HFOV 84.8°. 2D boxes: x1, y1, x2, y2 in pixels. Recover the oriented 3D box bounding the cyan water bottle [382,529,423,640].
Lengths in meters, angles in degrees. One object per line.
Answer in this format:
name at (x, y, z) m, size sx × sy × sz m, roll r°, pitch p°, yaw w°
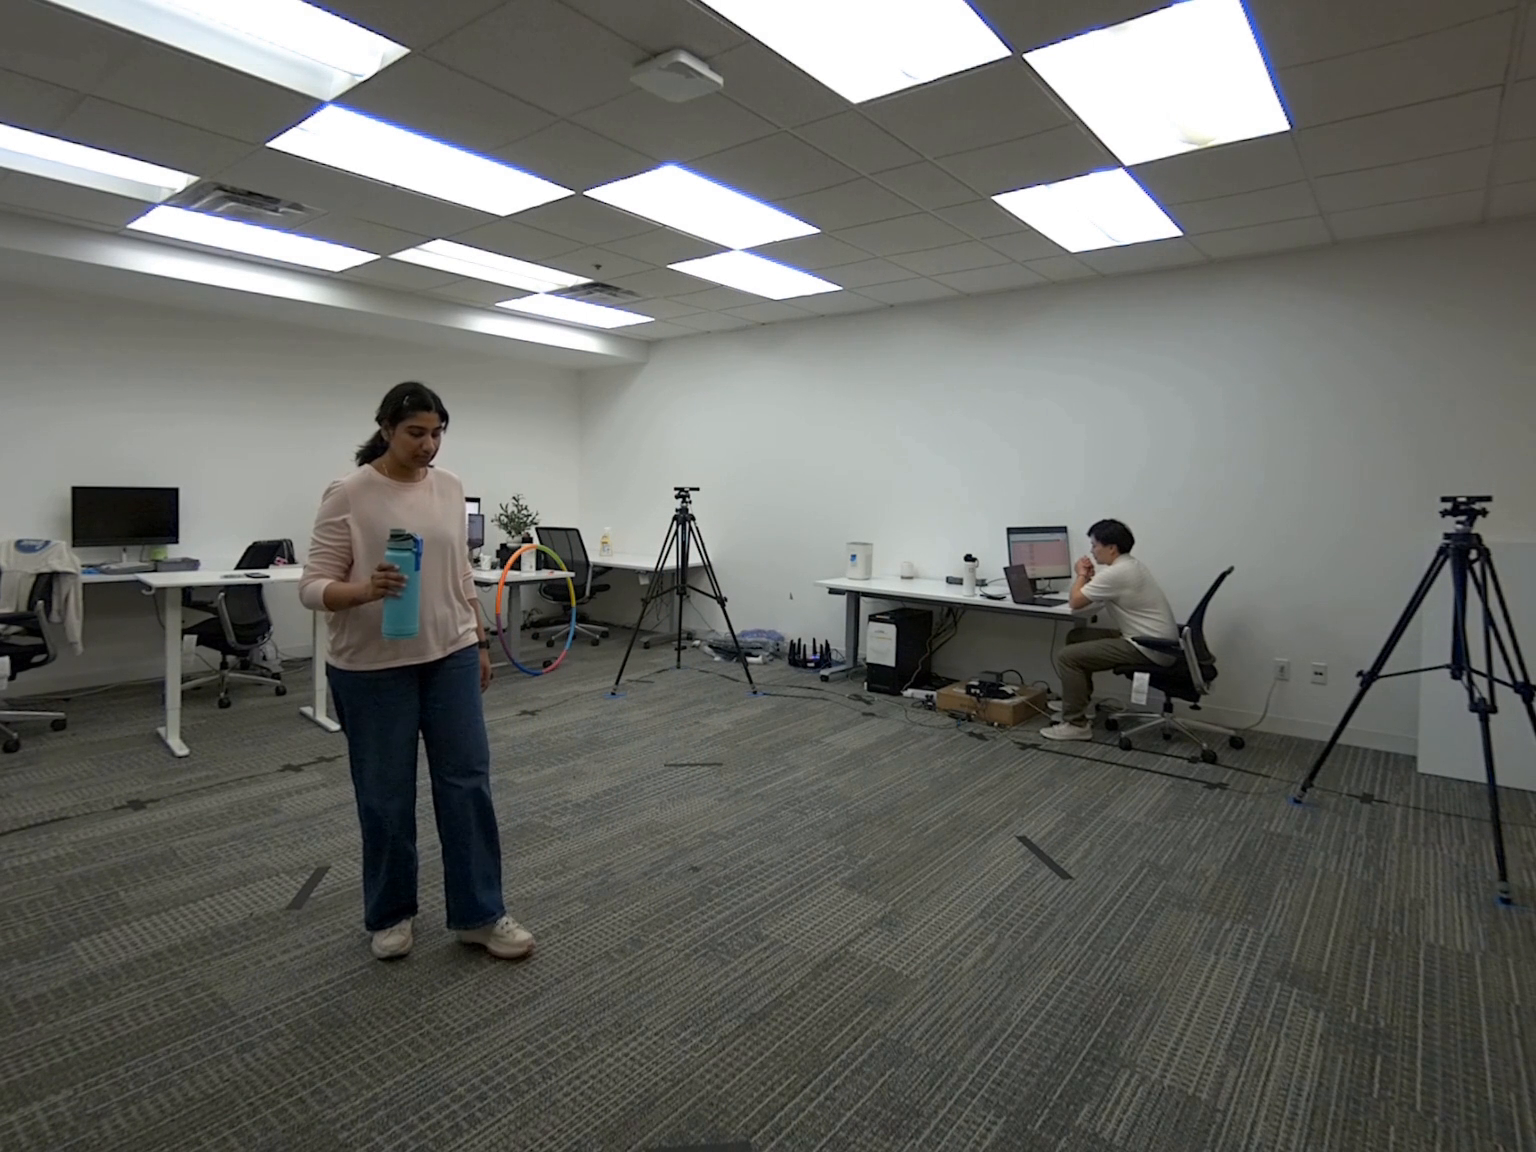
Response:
cyan water bottle at (-0.969, 0.018, 2.217) m, size 0.092 × 0.282 × 0.093 m, roll 2°, pitch 6°, yaw -2°
